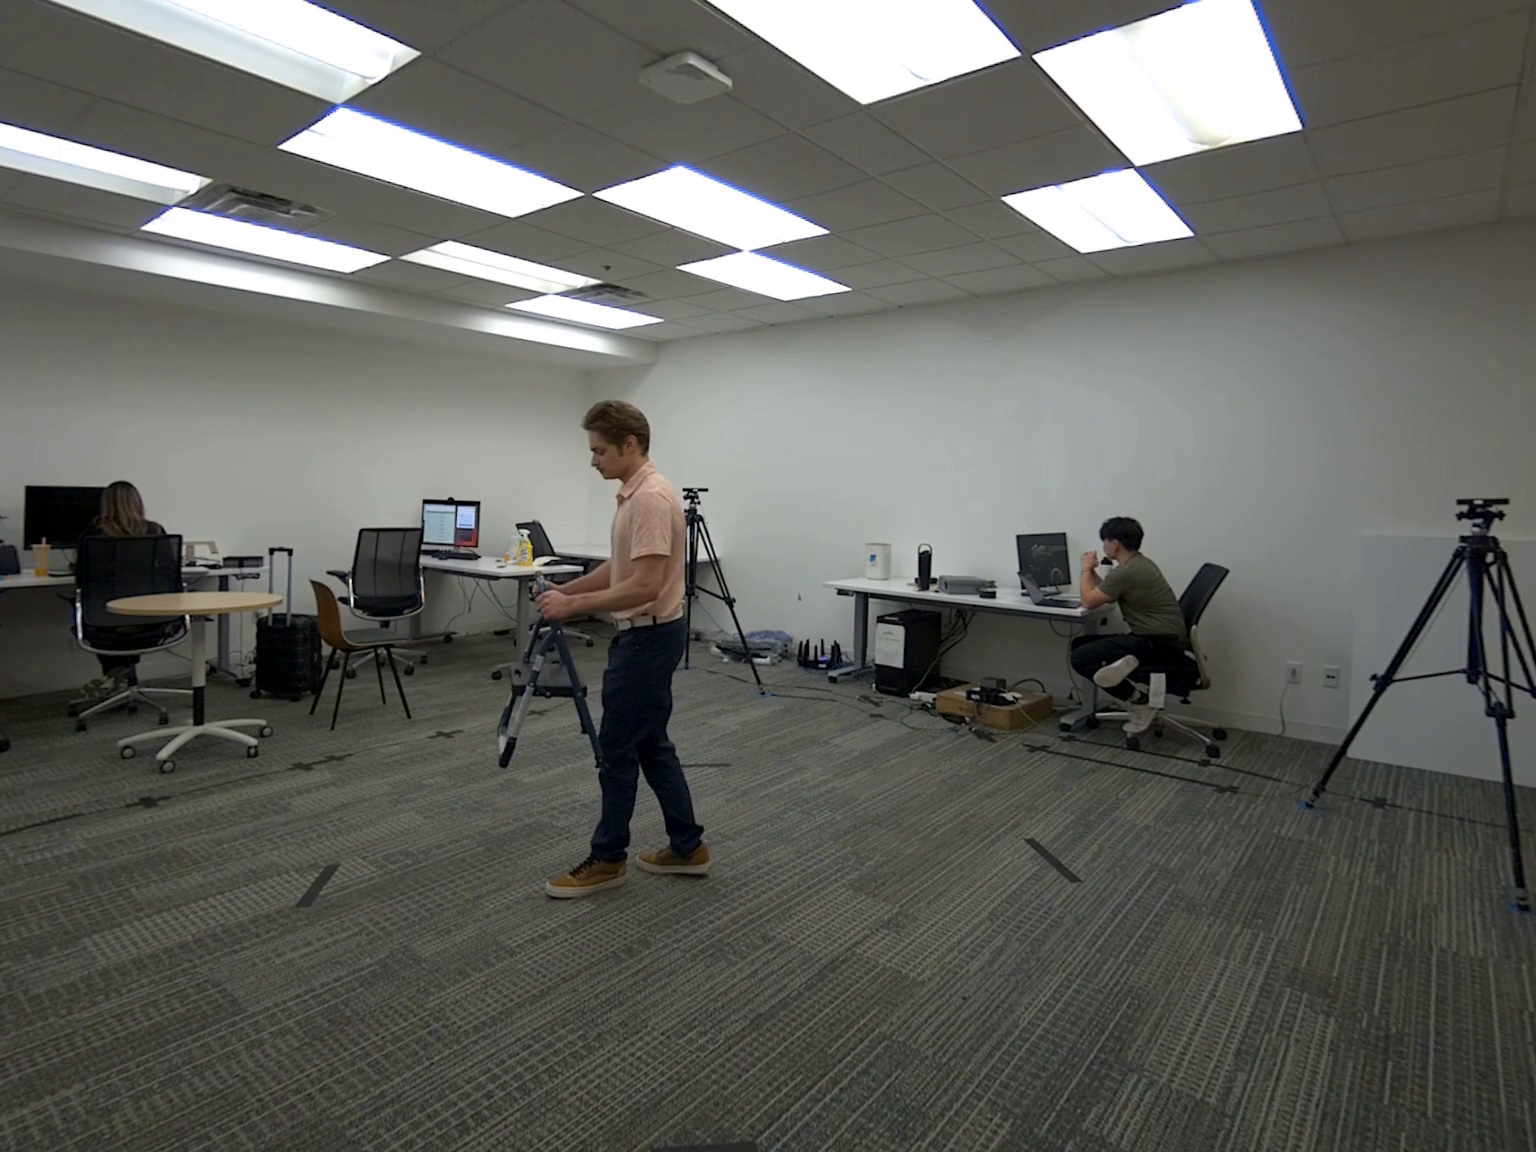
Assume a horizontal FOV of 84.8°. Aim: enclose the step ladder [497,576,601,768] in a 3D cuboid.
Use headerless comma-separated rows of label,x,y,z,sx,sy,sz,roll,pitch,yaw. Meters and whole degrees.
step ladder,-0.744,0.307,2.924,0.342,0.605,0.440,4,2,-19
